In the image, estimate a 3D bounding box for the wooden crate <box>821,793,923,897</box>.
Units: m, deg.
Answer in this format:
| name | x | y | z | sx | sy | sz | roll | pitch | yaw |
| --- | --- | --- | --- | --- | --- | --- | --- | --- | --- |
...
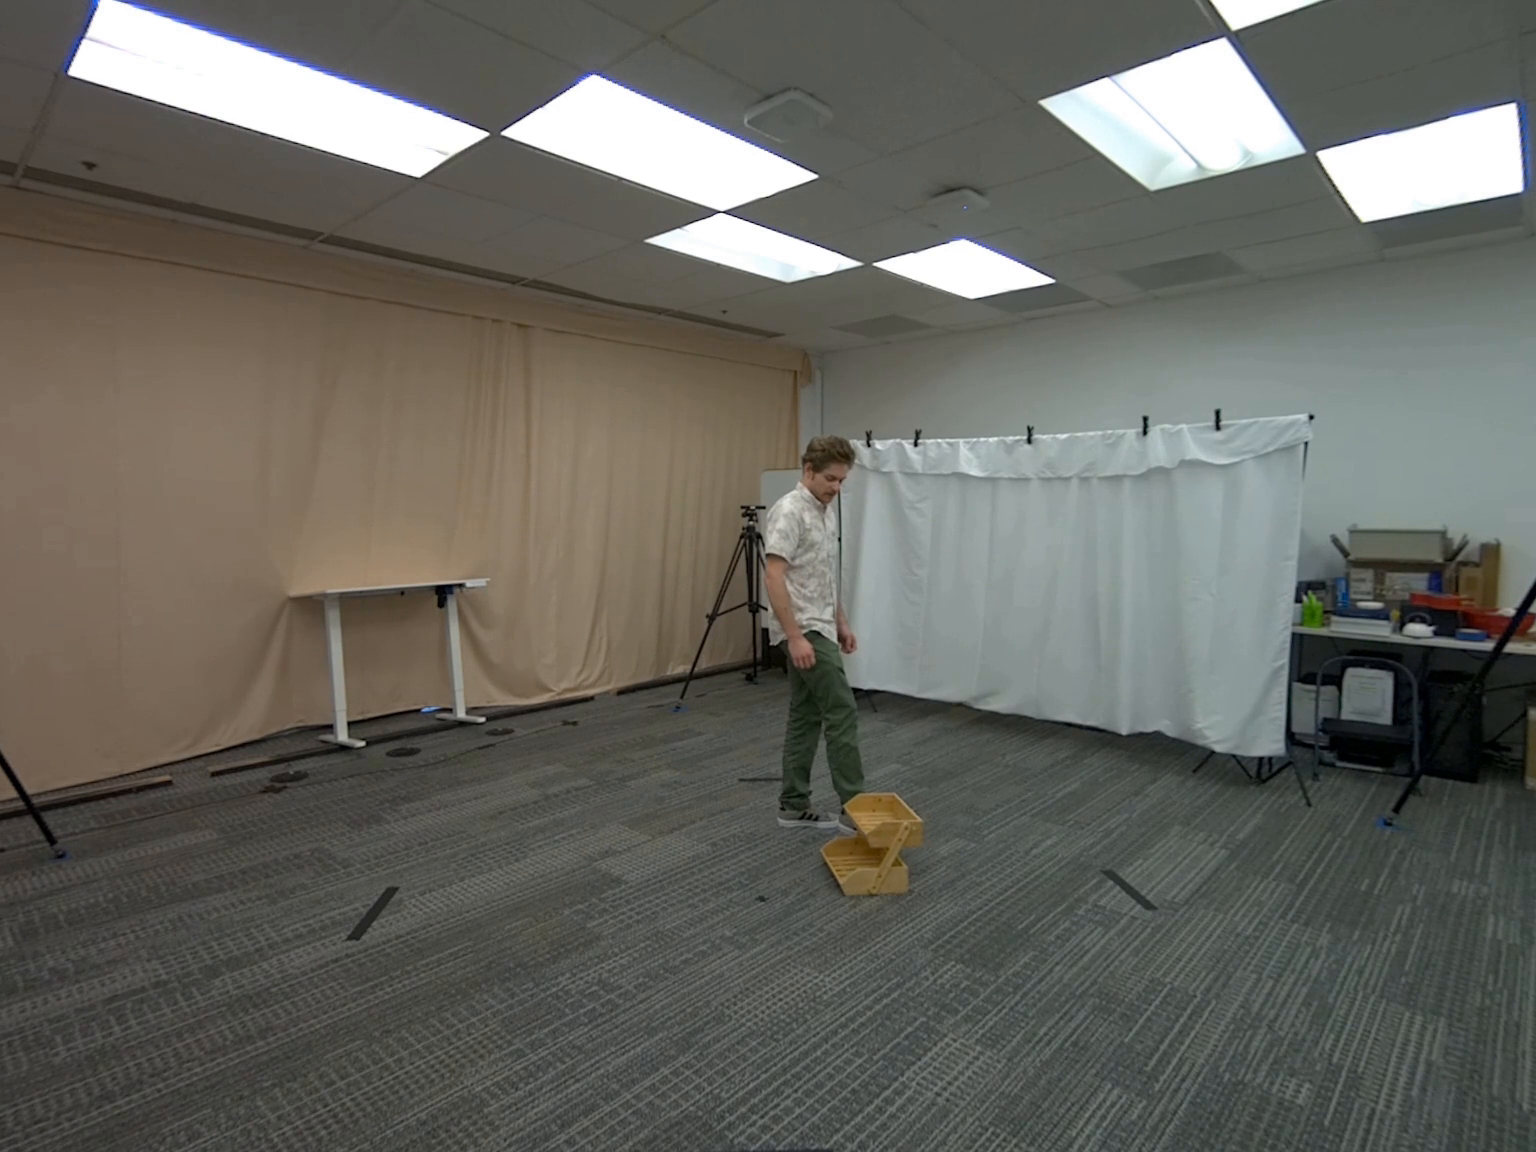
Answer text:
| name | x | y | z | sx | sy | sz | roll | pitch | yaw |
| --- | --- | --- | --- | --- | --- | --- | --- | --- | --- |
| wooden crate | 0.381 | 0.992 | 3.154 | 0.299 | 0.273 | 0.329 | -1 | 4 | -11 |
